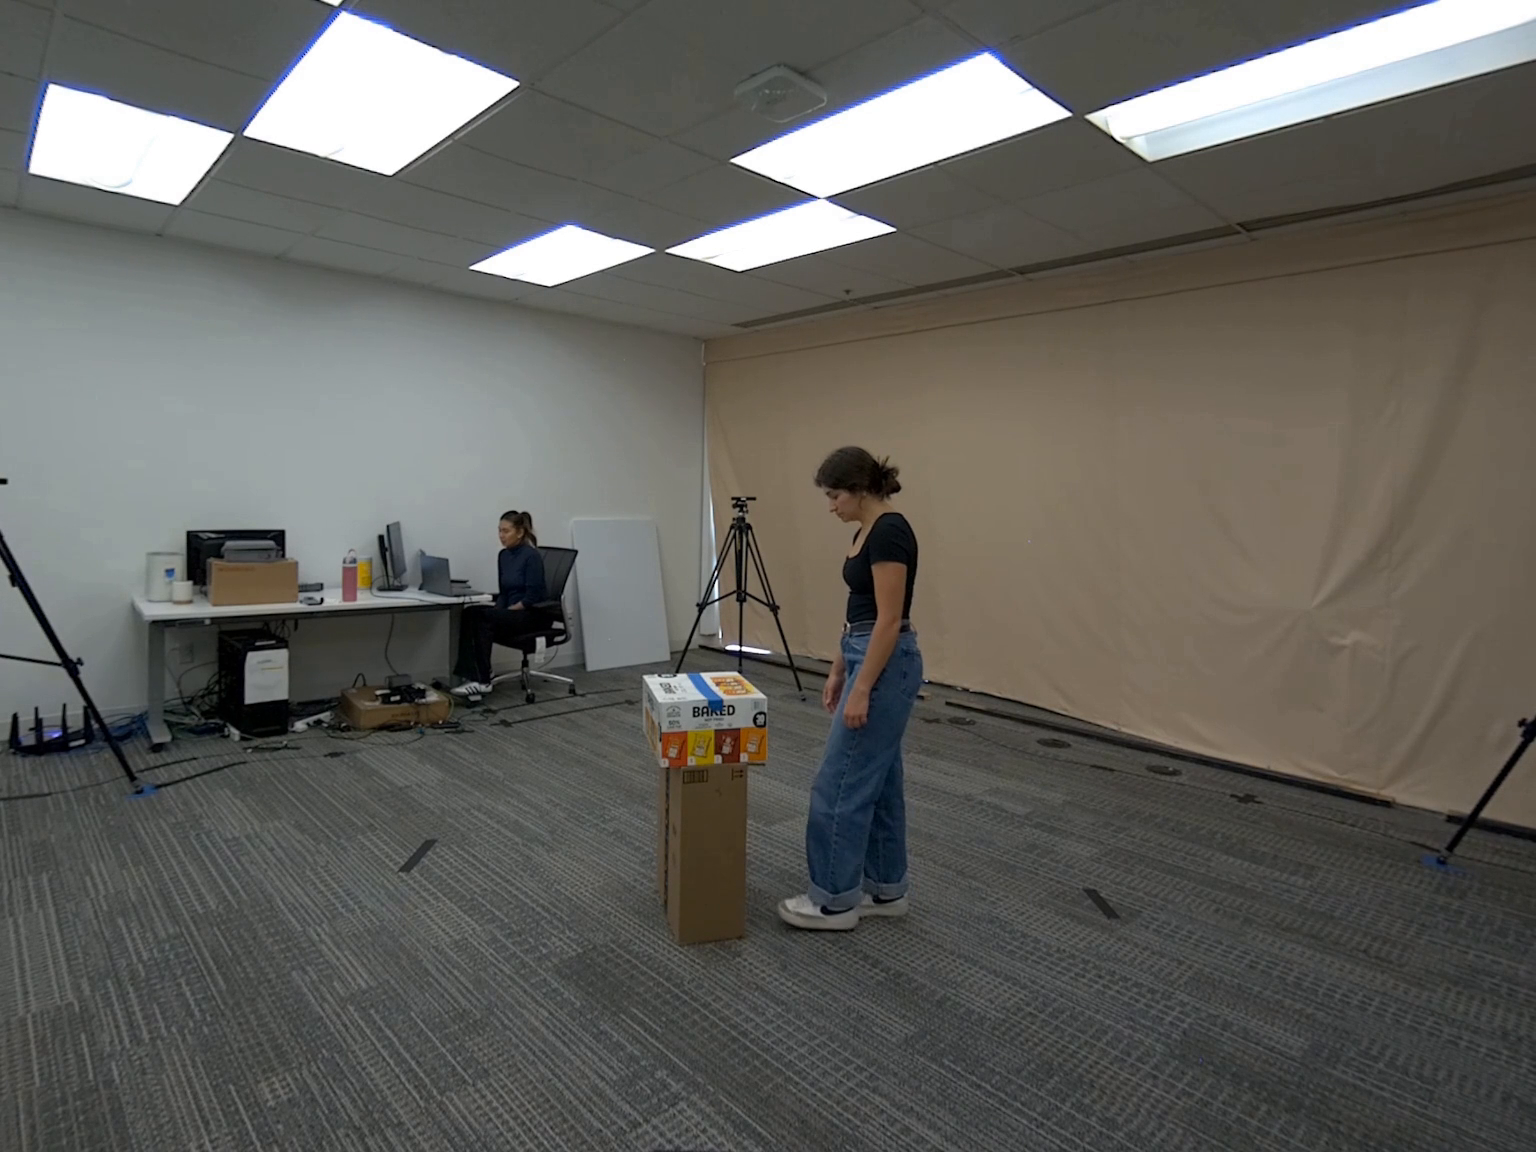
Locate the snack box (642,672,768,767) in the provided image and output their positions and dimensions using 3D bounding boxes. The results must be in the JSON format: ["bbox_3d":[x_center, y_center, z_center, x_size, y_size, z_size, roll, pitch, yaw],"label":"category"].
[{"bbox_3d":[-0.223,0.463,2.794,0.336,0.205,0.411,0,5,-15],"label":"snack box"}]
